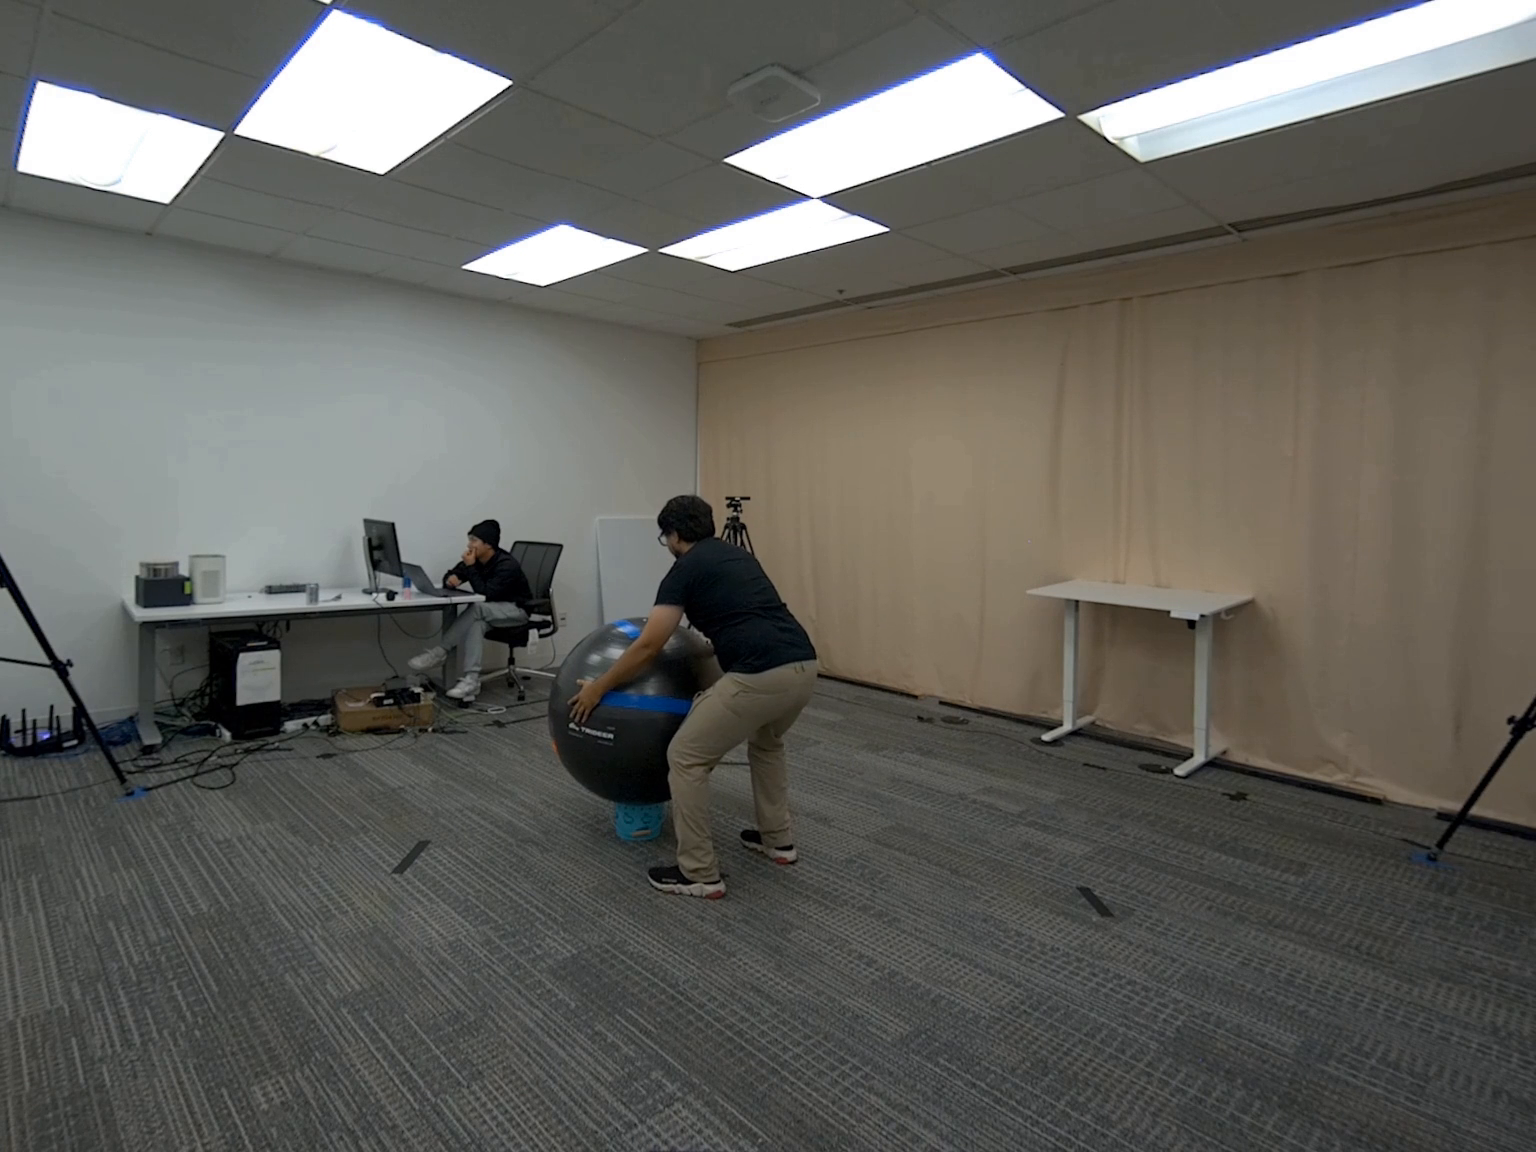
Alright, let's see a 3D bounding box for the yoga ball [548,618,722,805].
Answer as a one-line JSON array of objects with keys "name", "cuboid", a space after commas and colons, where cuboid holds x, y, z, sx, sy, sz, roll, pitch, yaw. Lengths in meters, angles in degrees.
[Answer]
[{"name": "yoga ball", "cuboid": [-0.531, 0.553, 3.473, 0.757, 0.756, 0.761, 1, 4, -1]}]
